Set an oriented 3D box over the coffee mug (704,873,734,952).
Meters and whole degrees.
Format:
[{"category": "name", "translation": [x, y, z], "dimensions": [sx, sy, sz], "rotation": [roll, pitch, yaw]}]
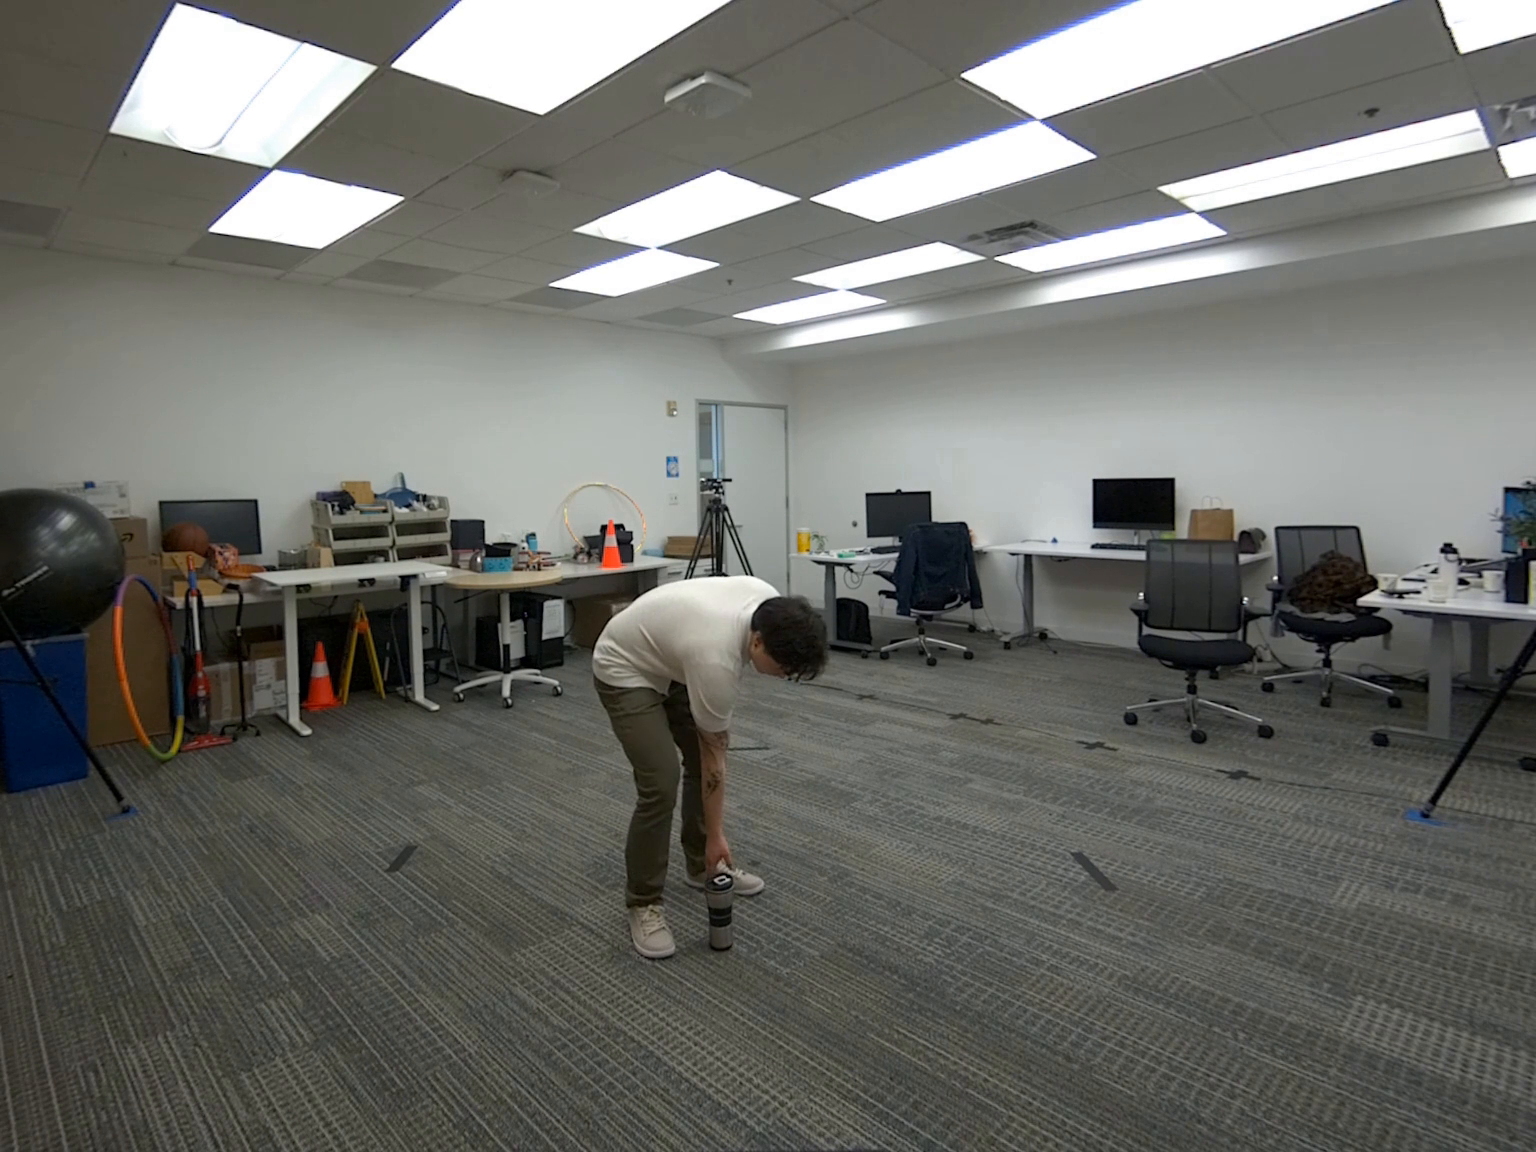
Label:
[{"category": "coffee mug", "translation": [-0.137, 1.011, 2.571], "dimensions": [0.090, 0.202, 0.119], "rotation": [-4, 5, 38]}]
